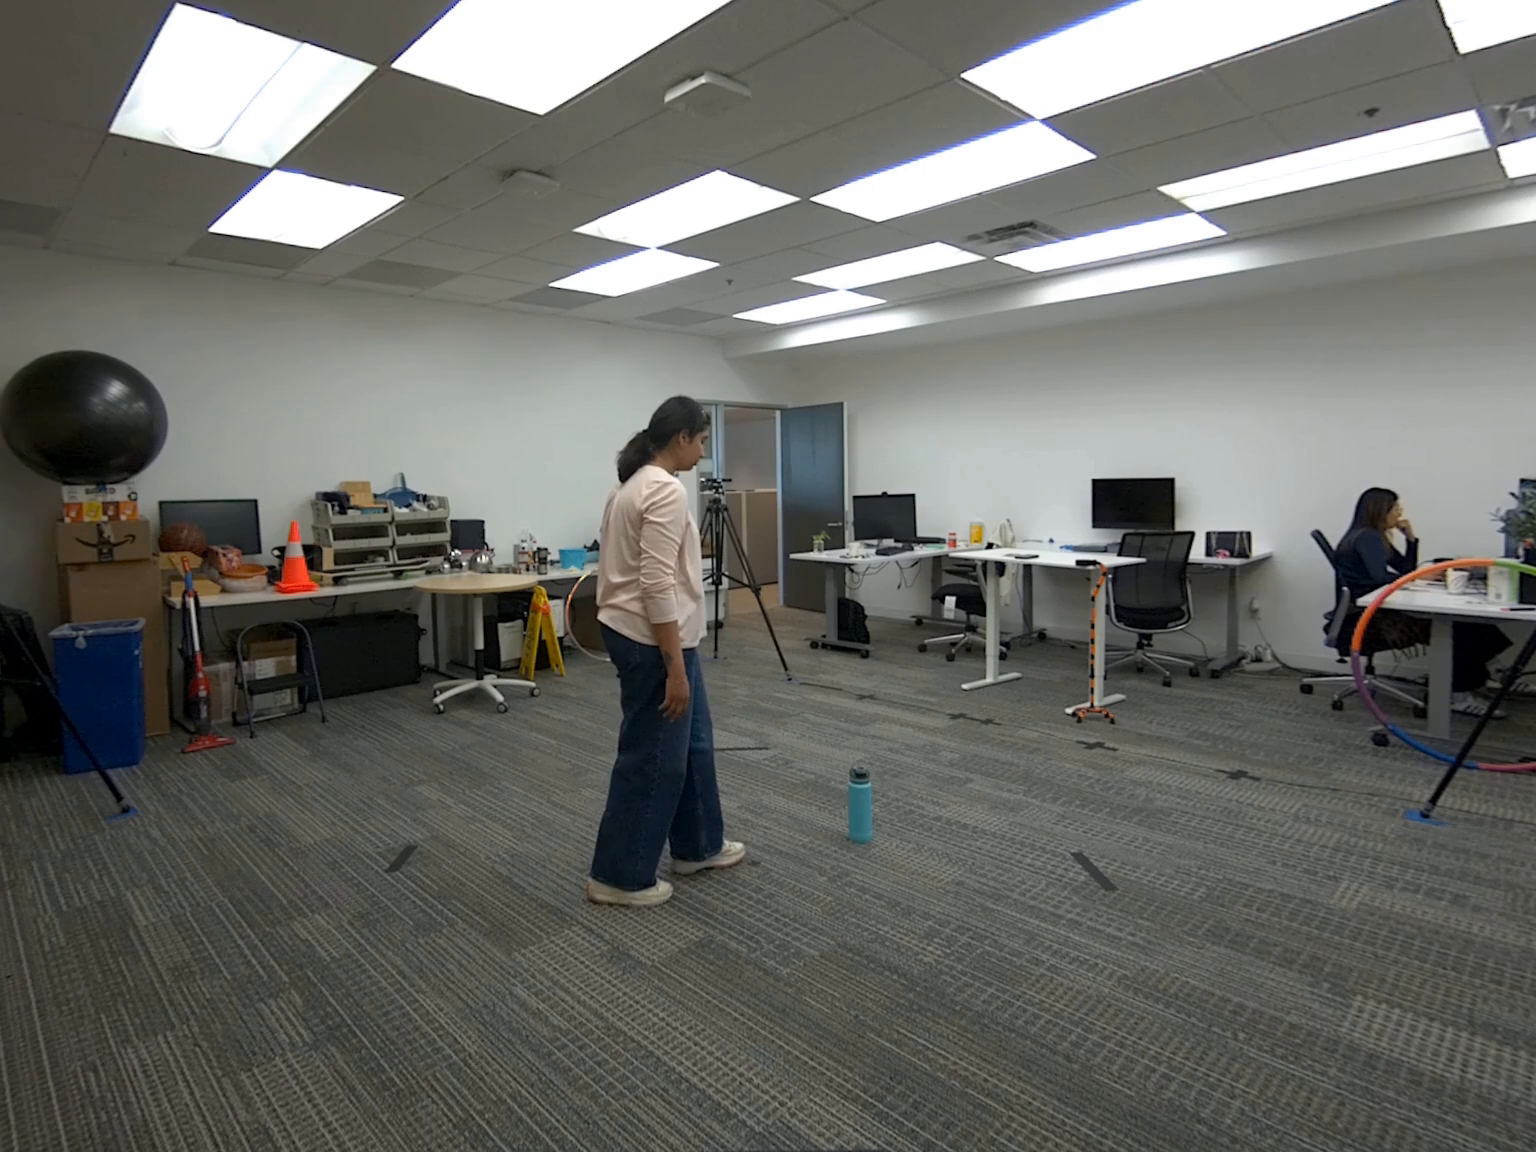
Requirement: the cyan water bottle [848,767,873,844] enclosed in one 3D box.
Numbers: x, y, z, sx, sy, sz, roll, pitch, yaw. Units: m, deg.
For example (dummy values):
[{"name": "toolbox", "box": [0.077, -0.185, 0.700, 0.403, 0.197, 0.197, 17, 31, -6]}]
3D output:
[{"name": "cyan water bottle", "box": [0.358, 0.875, 3.299, 0.092, 0.283, 0.092, -3, 2, -2]}]
